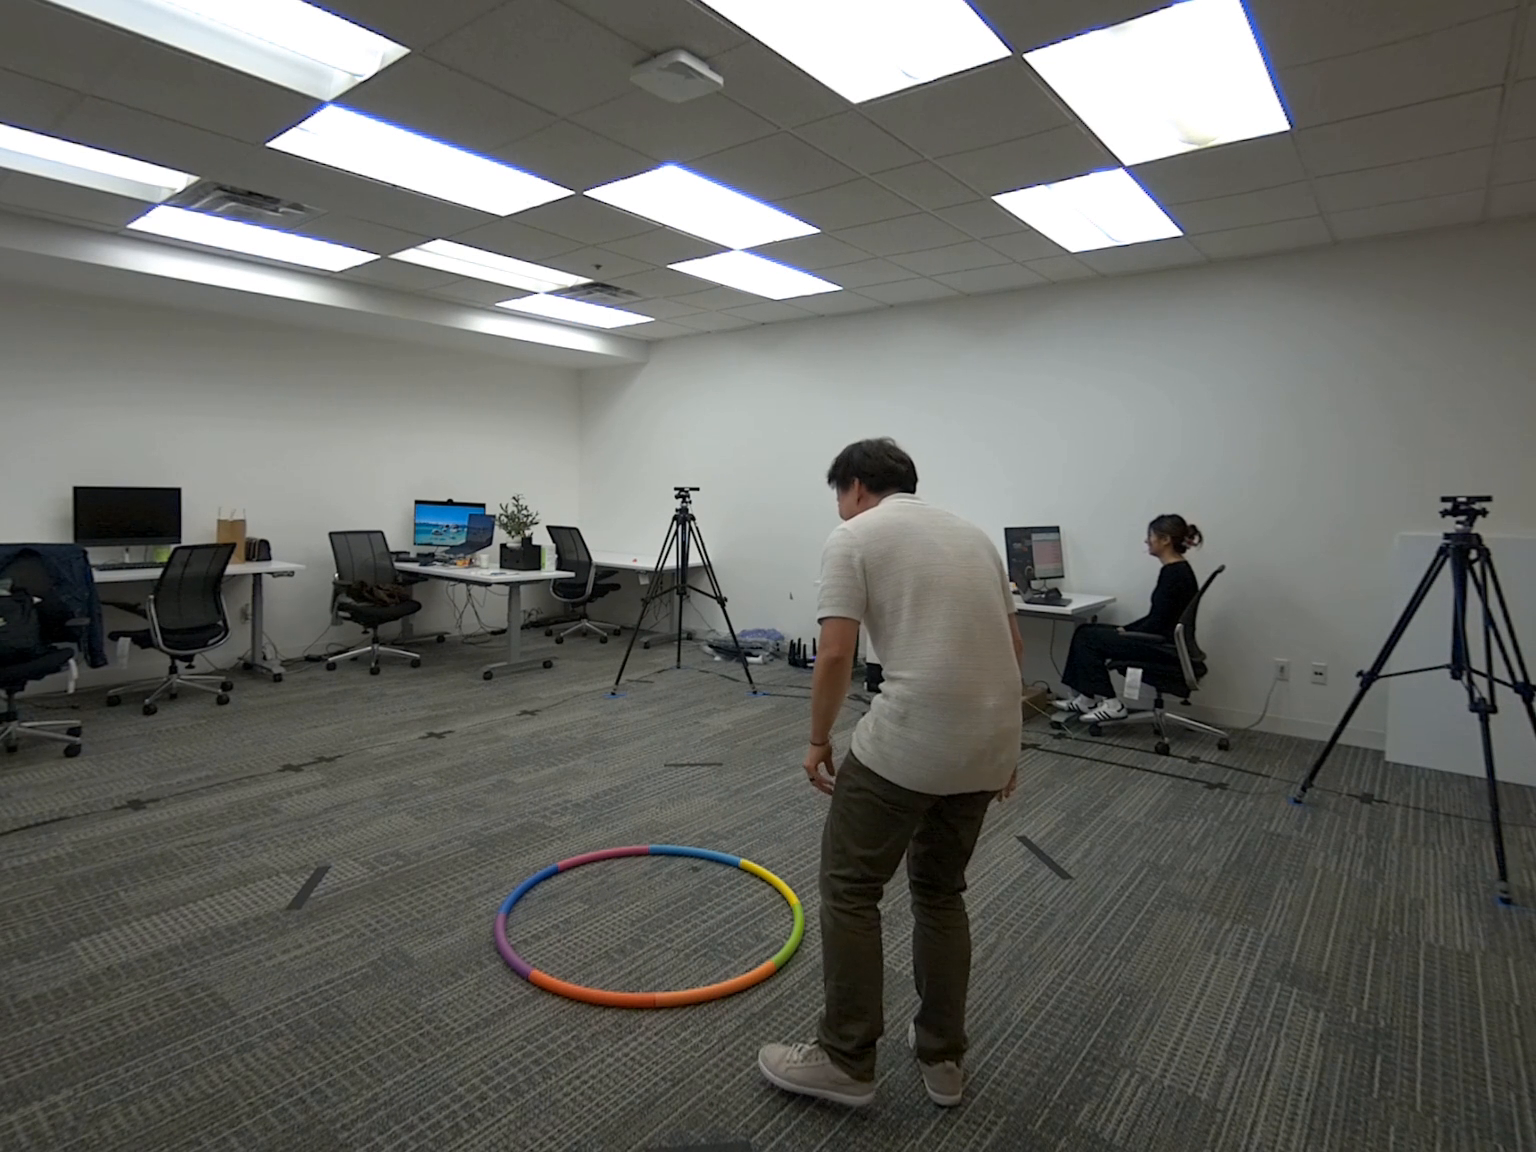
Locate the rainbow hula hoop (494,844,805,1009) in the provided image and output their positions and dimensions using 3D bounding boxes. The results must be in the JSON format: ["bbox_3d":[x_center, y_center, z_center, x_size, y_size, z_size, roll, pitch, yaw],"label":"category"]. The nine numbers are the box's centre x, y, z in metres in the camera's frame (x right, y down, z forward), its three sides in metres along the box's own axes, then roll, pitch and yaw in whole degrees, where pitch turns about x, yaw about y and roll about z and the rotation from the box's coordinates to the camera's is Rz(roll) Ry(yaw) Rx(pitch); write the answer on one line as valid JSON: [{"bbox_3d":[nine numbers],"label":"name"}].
[{"bbox_3d":[-0.383,1.070,2.751,0.978,0.035,0.984,1,6,-2],"label":"rainbow hula hoop"}]
